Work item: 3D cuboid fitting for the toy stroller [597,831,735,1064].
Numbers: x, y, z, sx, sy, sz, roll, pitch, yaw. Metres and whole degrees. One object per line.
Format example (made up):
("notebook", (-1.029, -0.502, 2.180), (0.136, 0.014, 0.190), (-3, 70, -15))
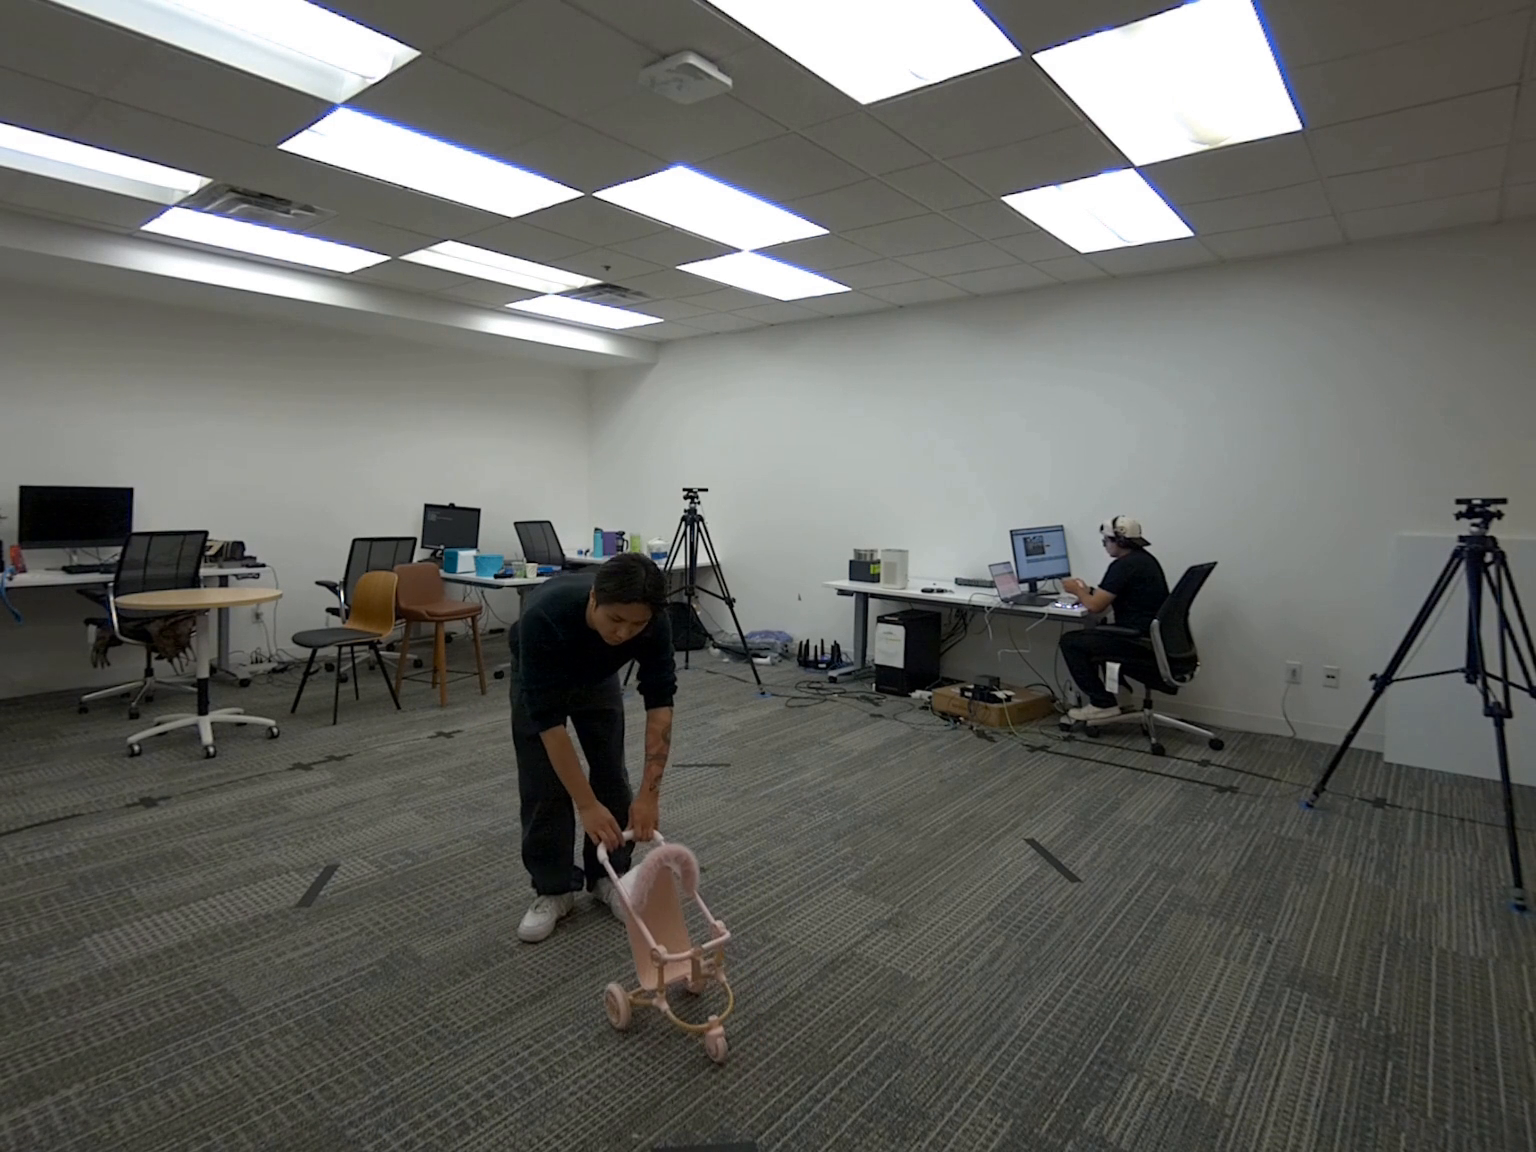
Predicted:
("toy stroller", (-0.260, 0.933, 2.208), (0.273, 0.541, 0.348), (-2, -12, -38))
